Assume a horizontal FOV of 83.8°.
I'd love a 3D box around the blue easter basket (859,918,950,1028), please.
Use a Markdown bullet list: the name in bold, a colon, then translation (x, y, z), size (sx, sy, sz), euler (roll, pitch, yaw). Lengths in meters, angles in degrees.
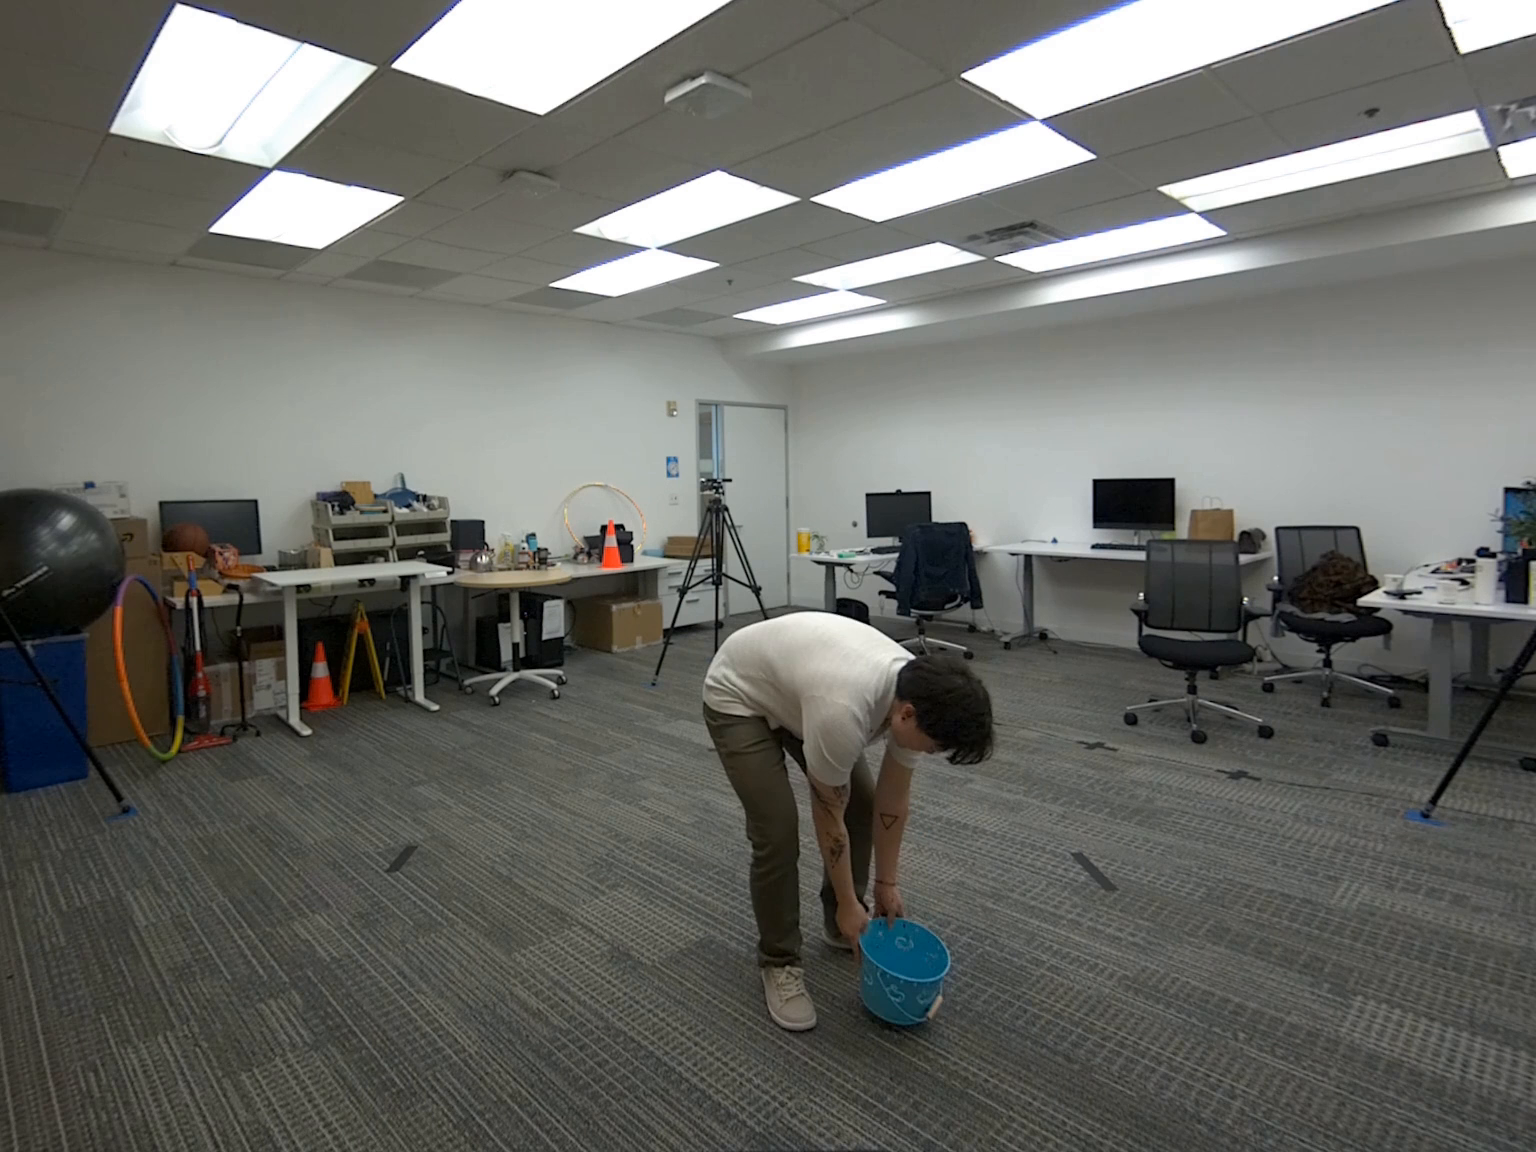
- **blue easter basket**: translation (0.337, 1.016, 2.207), size (0.243, 0.154, 0.247), euler (6, 15, -3)
